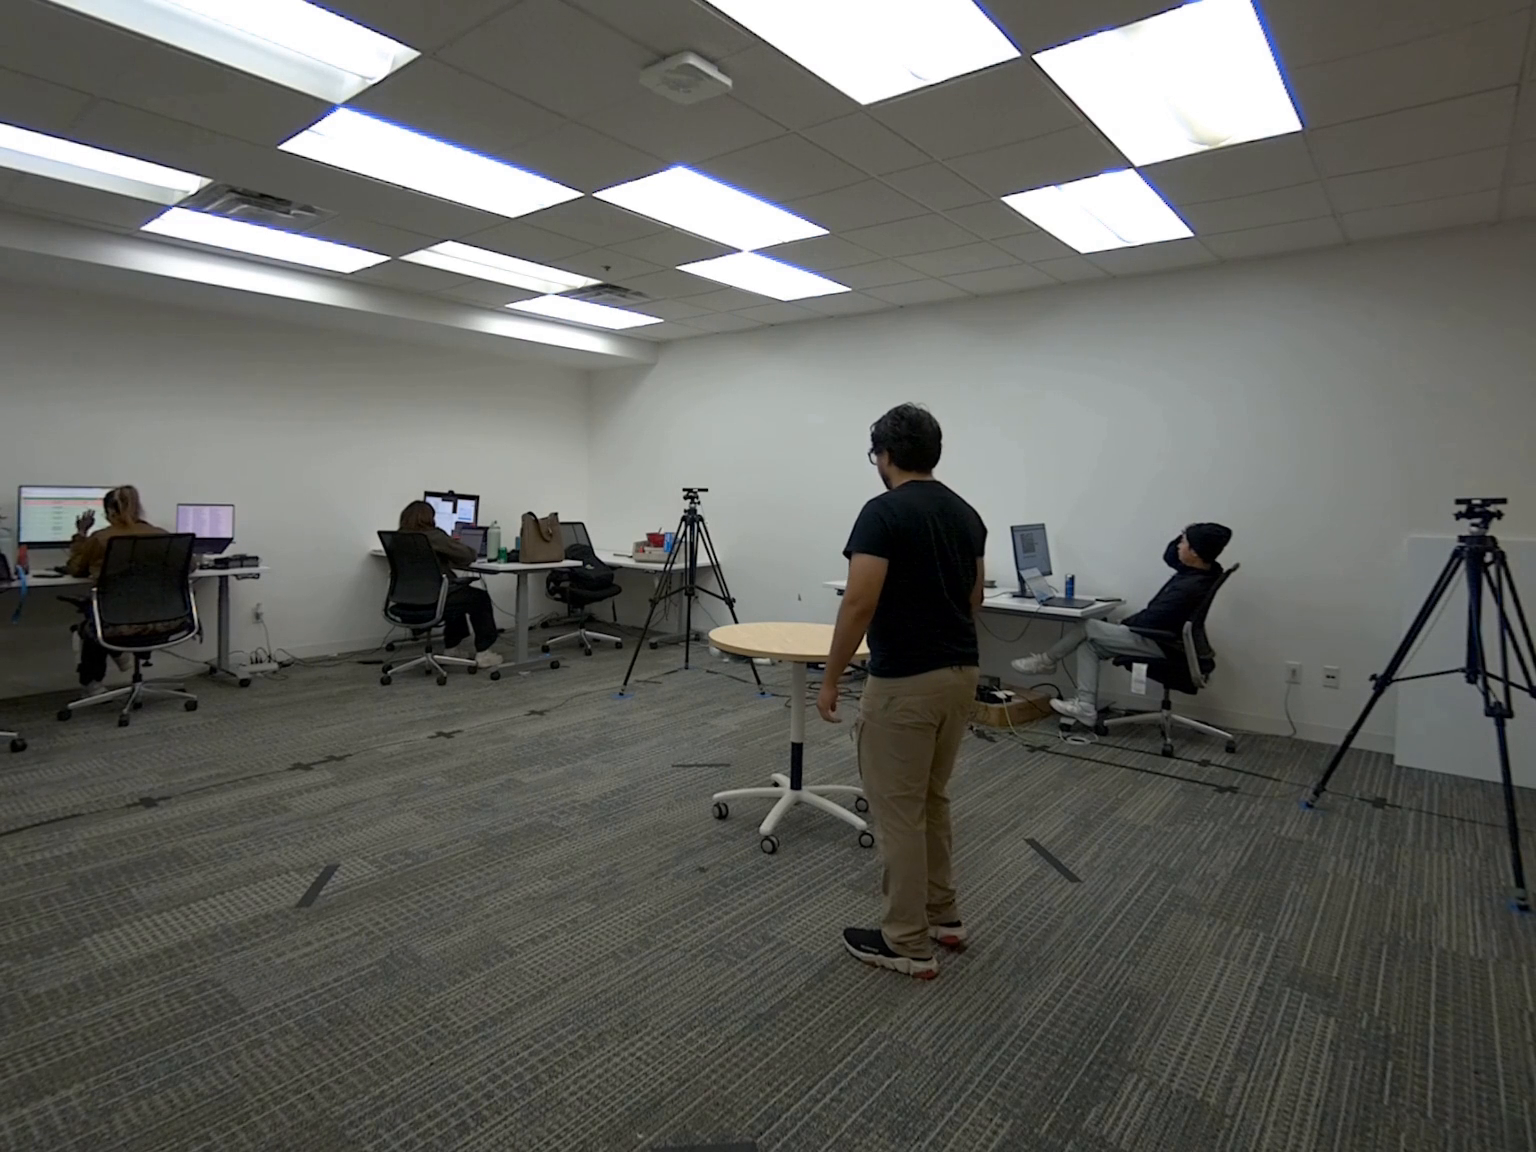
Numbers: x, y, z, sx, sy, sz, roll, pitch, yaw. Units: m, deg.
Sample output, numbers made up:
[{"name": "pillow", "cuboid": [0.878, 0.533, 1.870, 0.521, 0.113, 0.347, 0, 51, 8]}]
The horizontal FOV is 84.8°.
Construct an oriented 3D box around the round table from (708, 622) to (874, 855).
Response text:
[{"name": "round table", "cuboid": [0.103, 0.639, 3.565, 0.784, 0.784, 0.789, 2, 4, -2]}]
